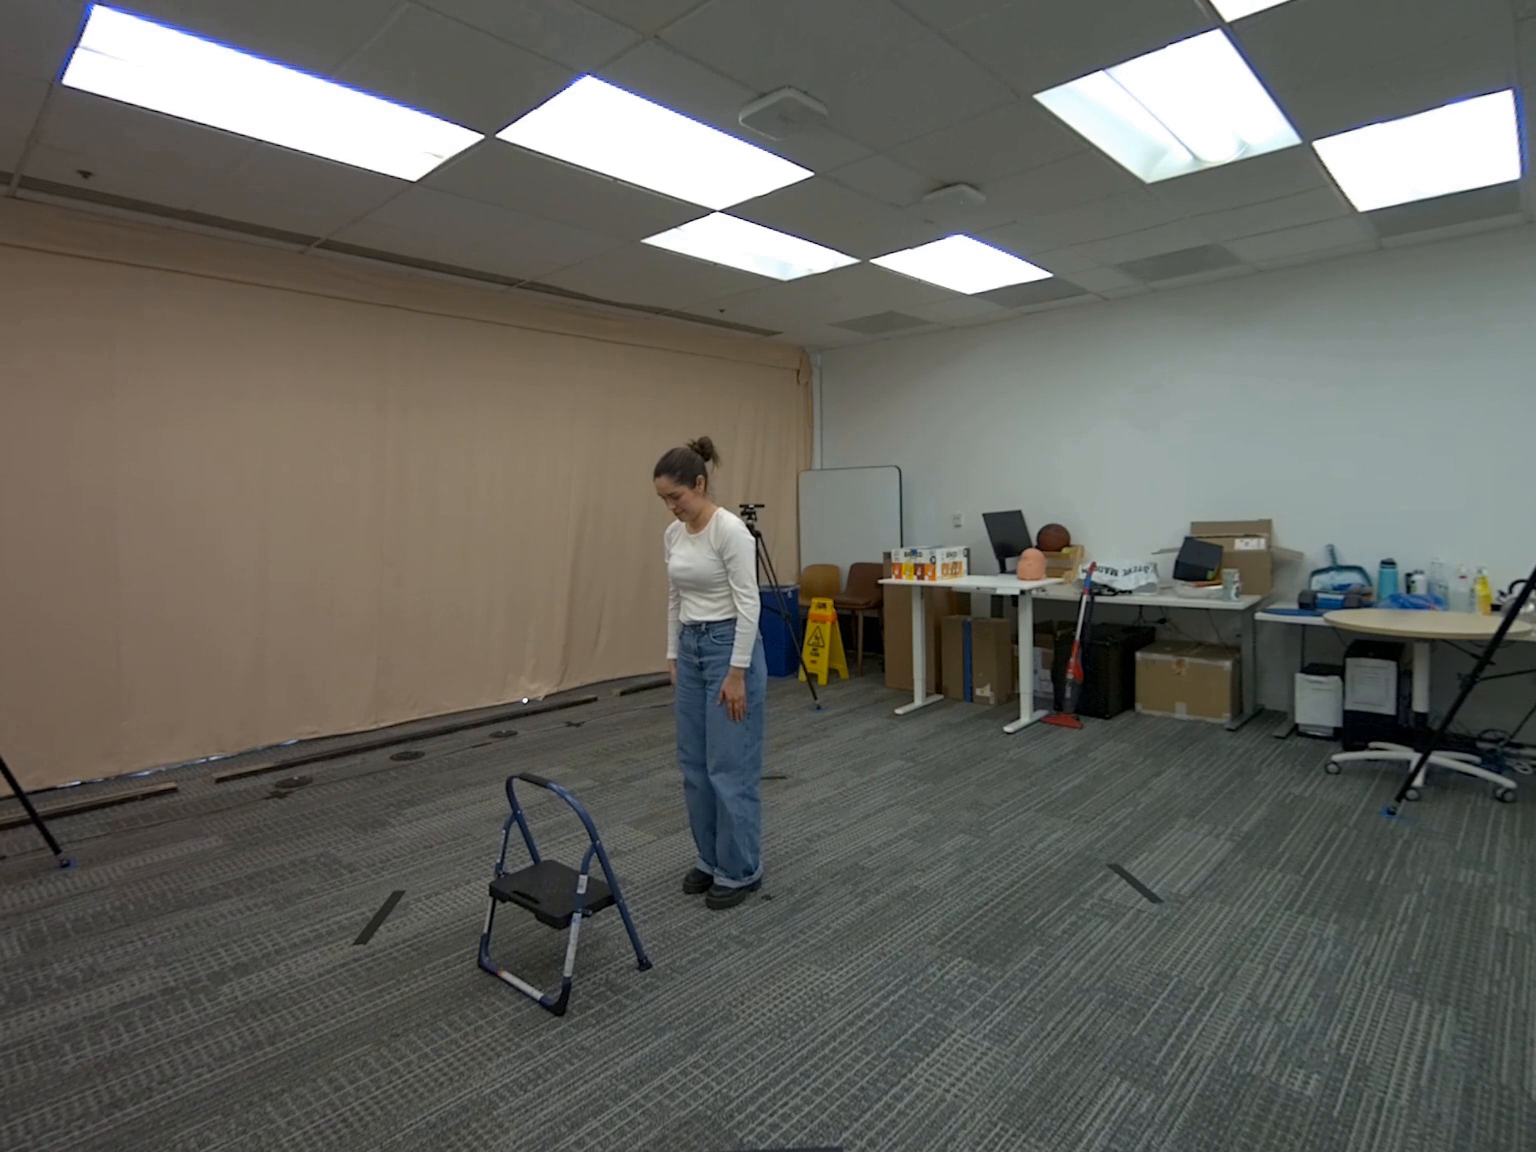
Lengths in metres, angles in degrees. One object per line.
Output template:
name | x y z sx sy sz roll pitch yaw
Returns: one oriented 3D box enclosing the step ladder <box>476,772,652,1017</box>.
step ladder | -0.630 0.889 2.544 0.444 0.605 0.339 1 4 39
